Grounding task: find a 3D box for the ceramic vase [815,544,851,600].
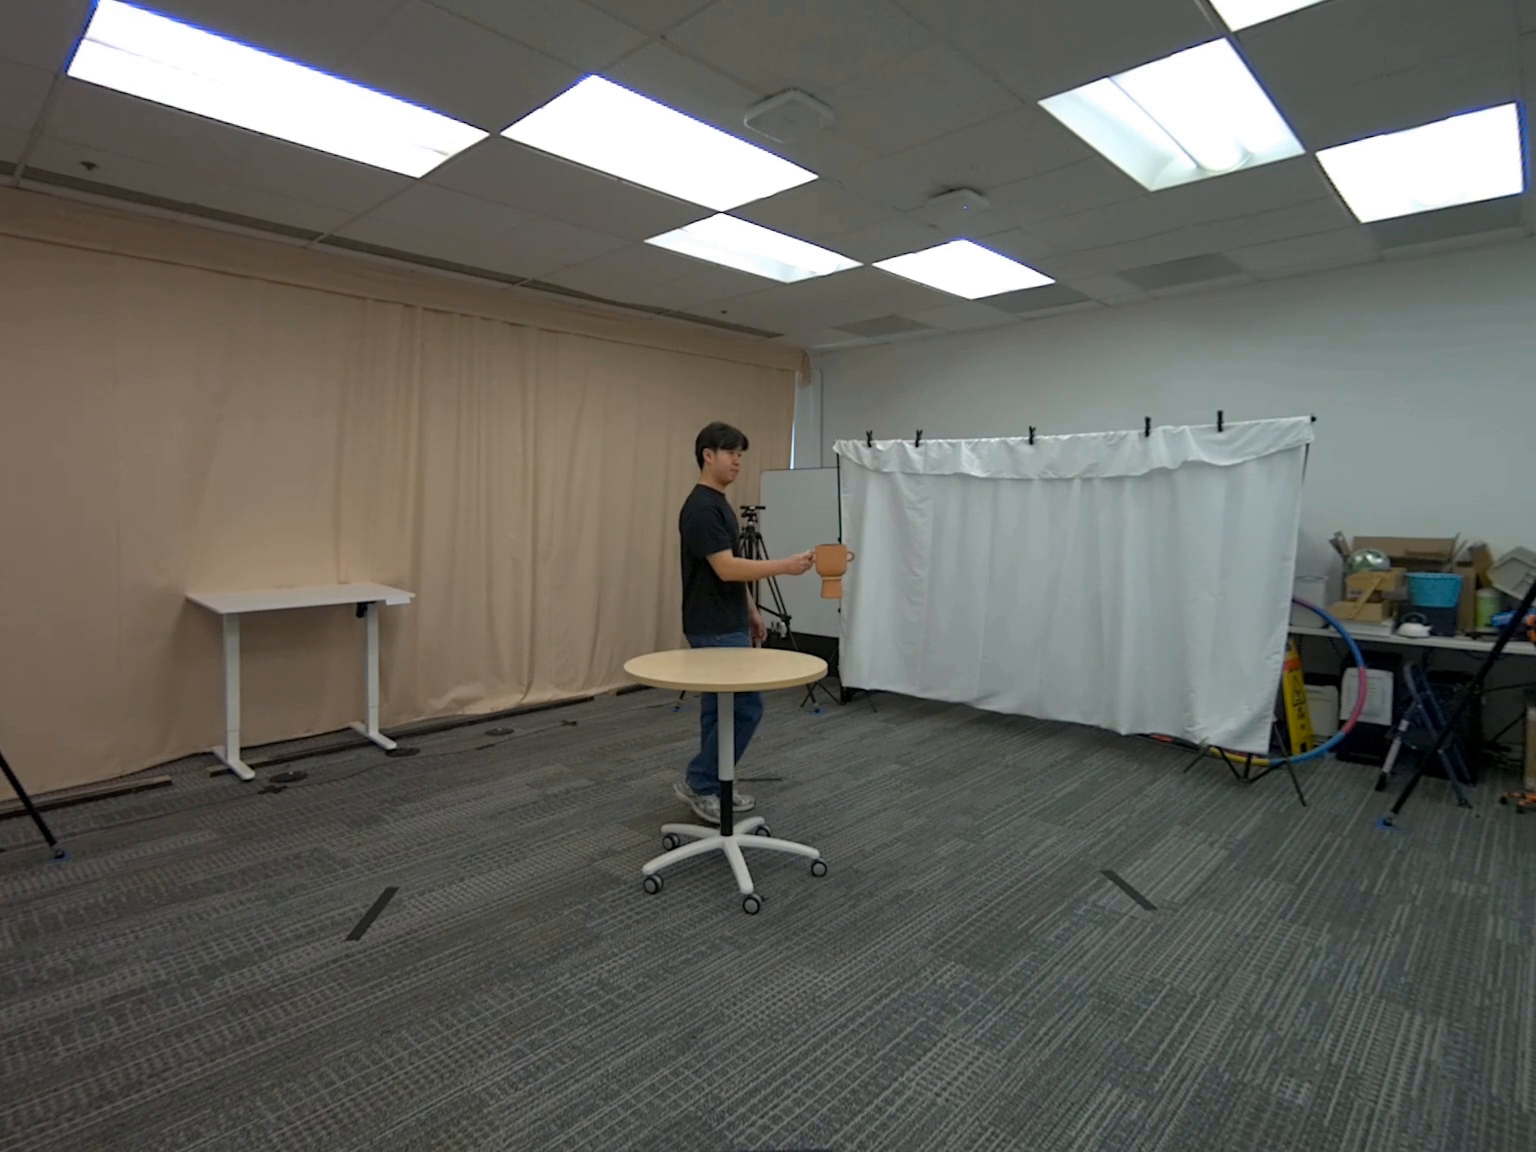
[{"bbox_3d":[0.267,-0.019,3.531,0.130,0.219,0.164,-4,6,-44],"label":"ceramic vase"}]
